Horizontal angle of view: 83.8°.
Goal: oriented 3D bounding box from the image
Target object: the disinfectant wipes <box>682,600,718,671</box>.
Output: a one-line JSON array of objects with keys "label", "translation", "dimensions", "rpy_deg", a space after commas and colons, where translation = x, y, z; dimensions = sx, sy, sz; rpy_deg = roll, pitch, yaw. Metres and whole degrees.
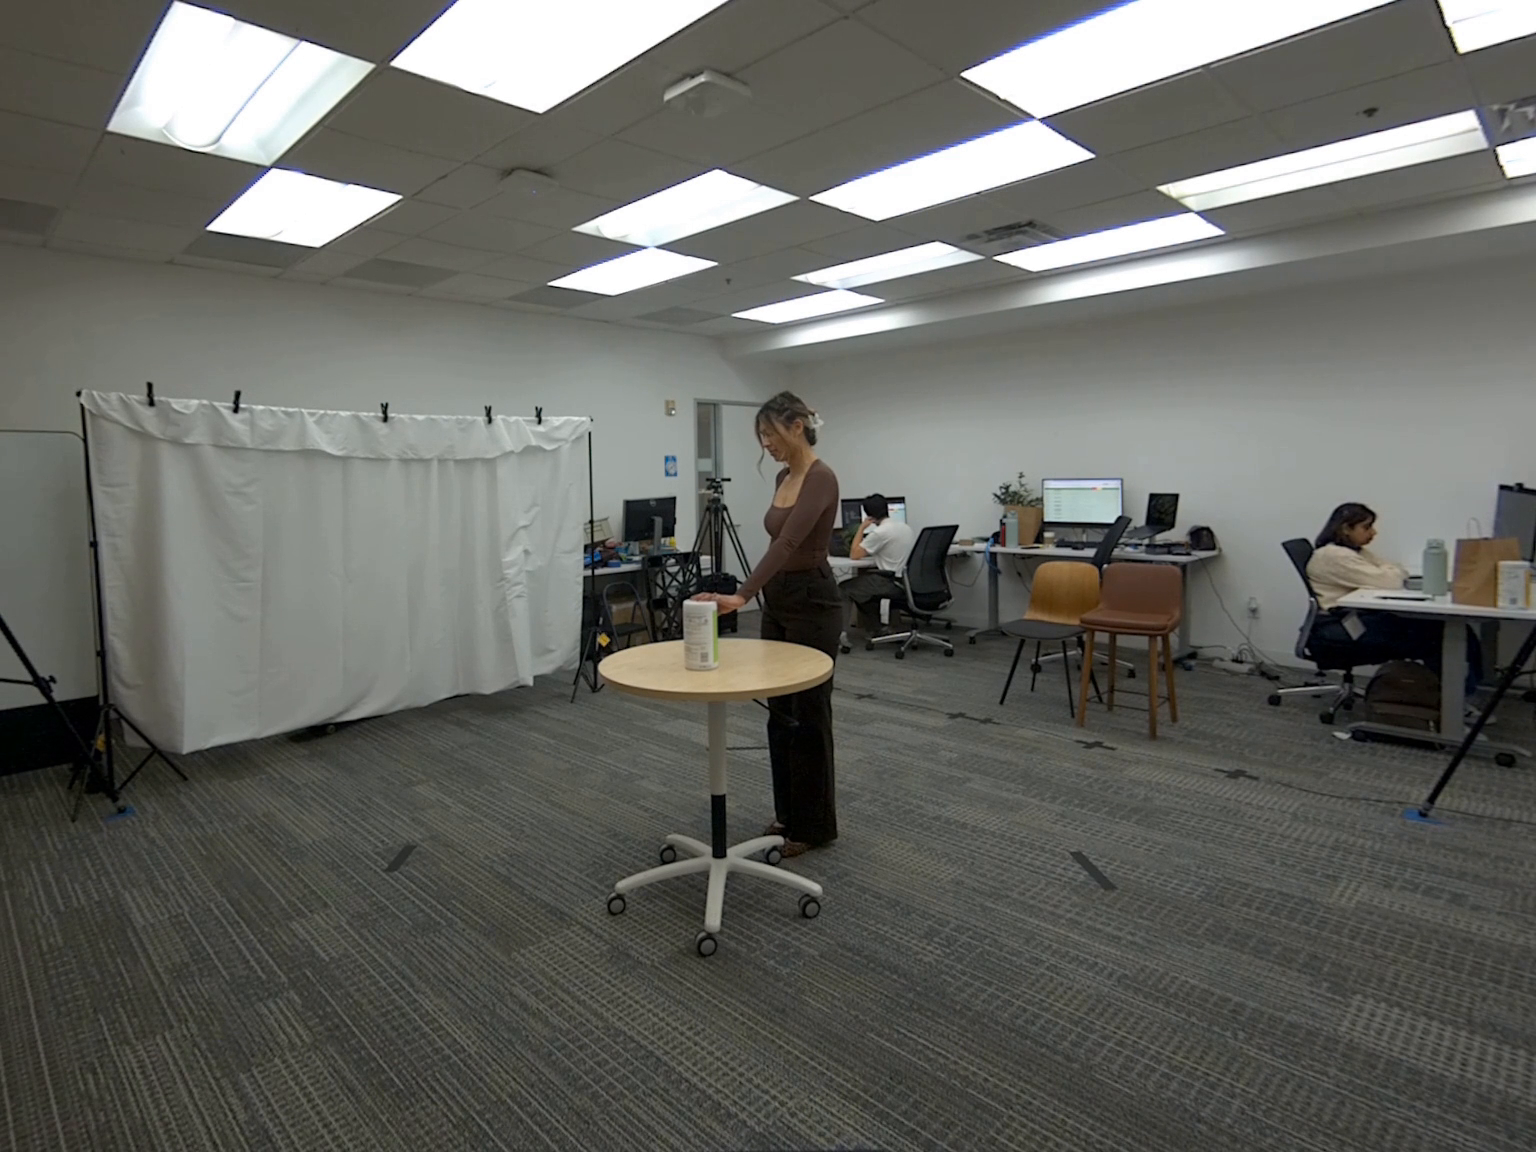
[{"label": "disinfectant wipes", "translation": [-0.208, 0.186, 2.720], "dimensions": [0.118, 0.217, 0.118], "rpy_deg": [0, 3, -2]}]
